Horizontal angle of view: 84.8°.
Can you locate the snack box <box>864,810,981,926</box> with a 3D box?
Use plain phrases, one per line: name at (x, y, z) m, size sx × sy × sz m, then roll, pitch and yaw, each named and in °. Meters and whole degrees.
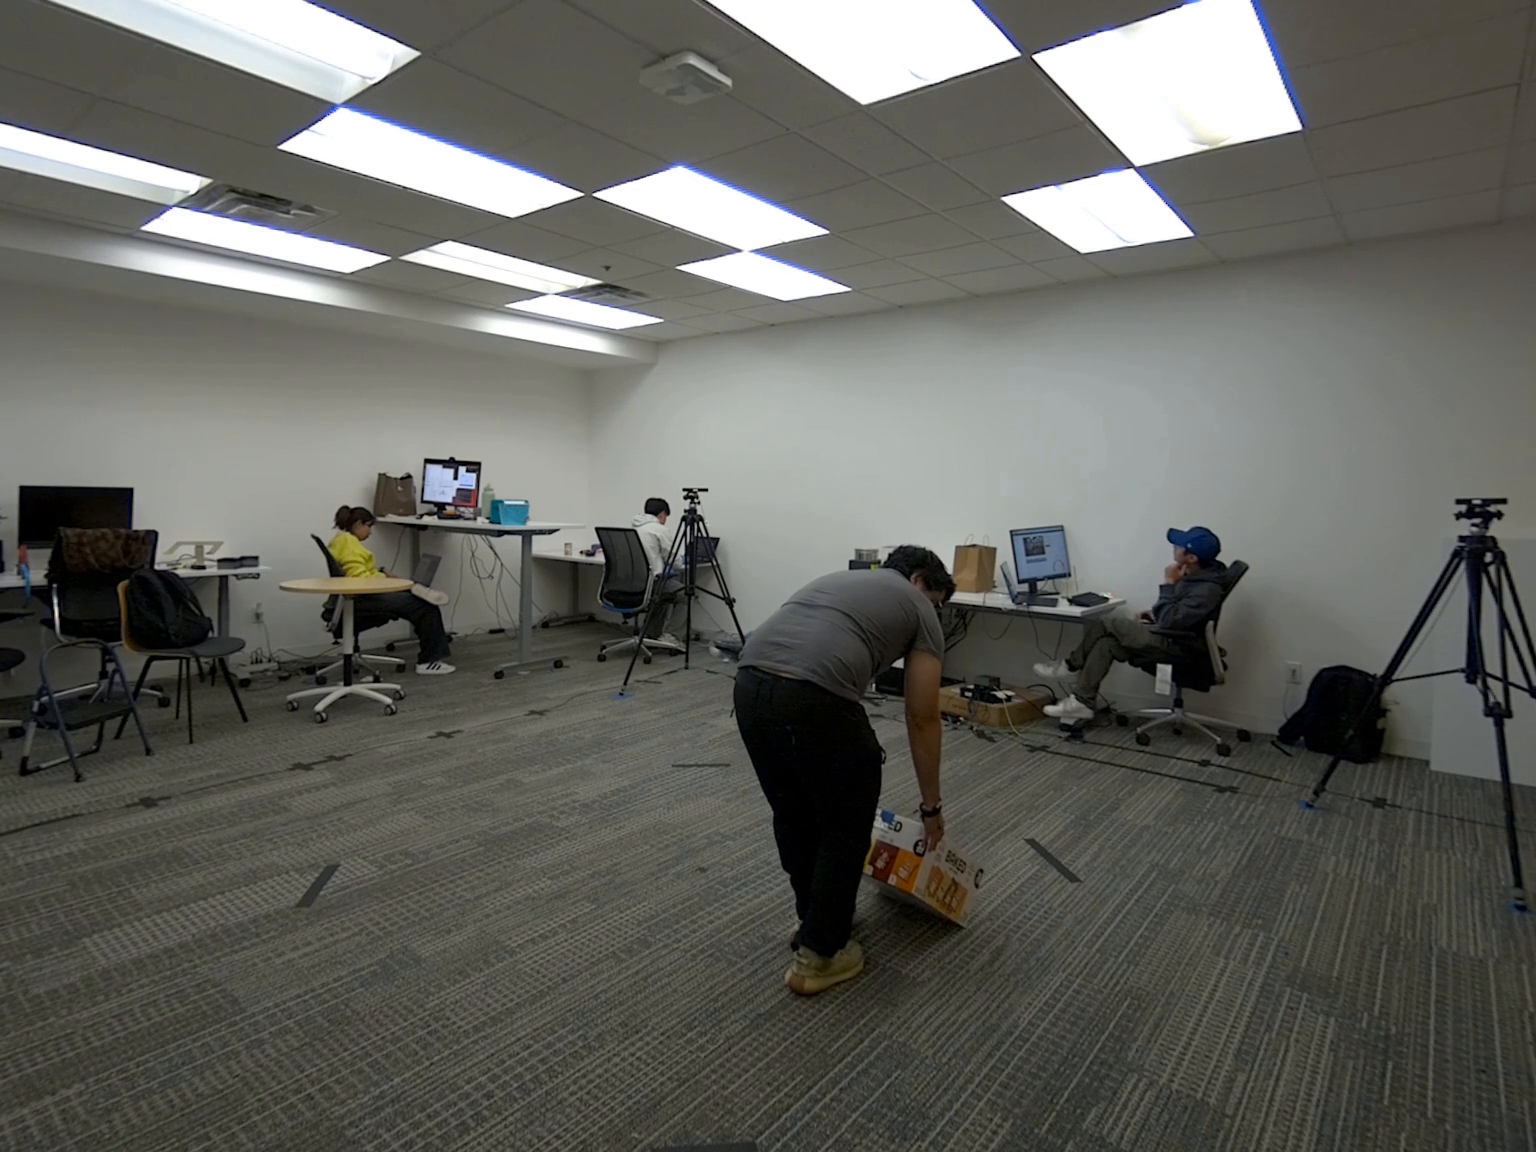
snack box at (0.437, 0.925, 2.766) m, size 0.352 × 0.207 × 0.388 m, roll 8°, pitch -27°, yaw 43°
